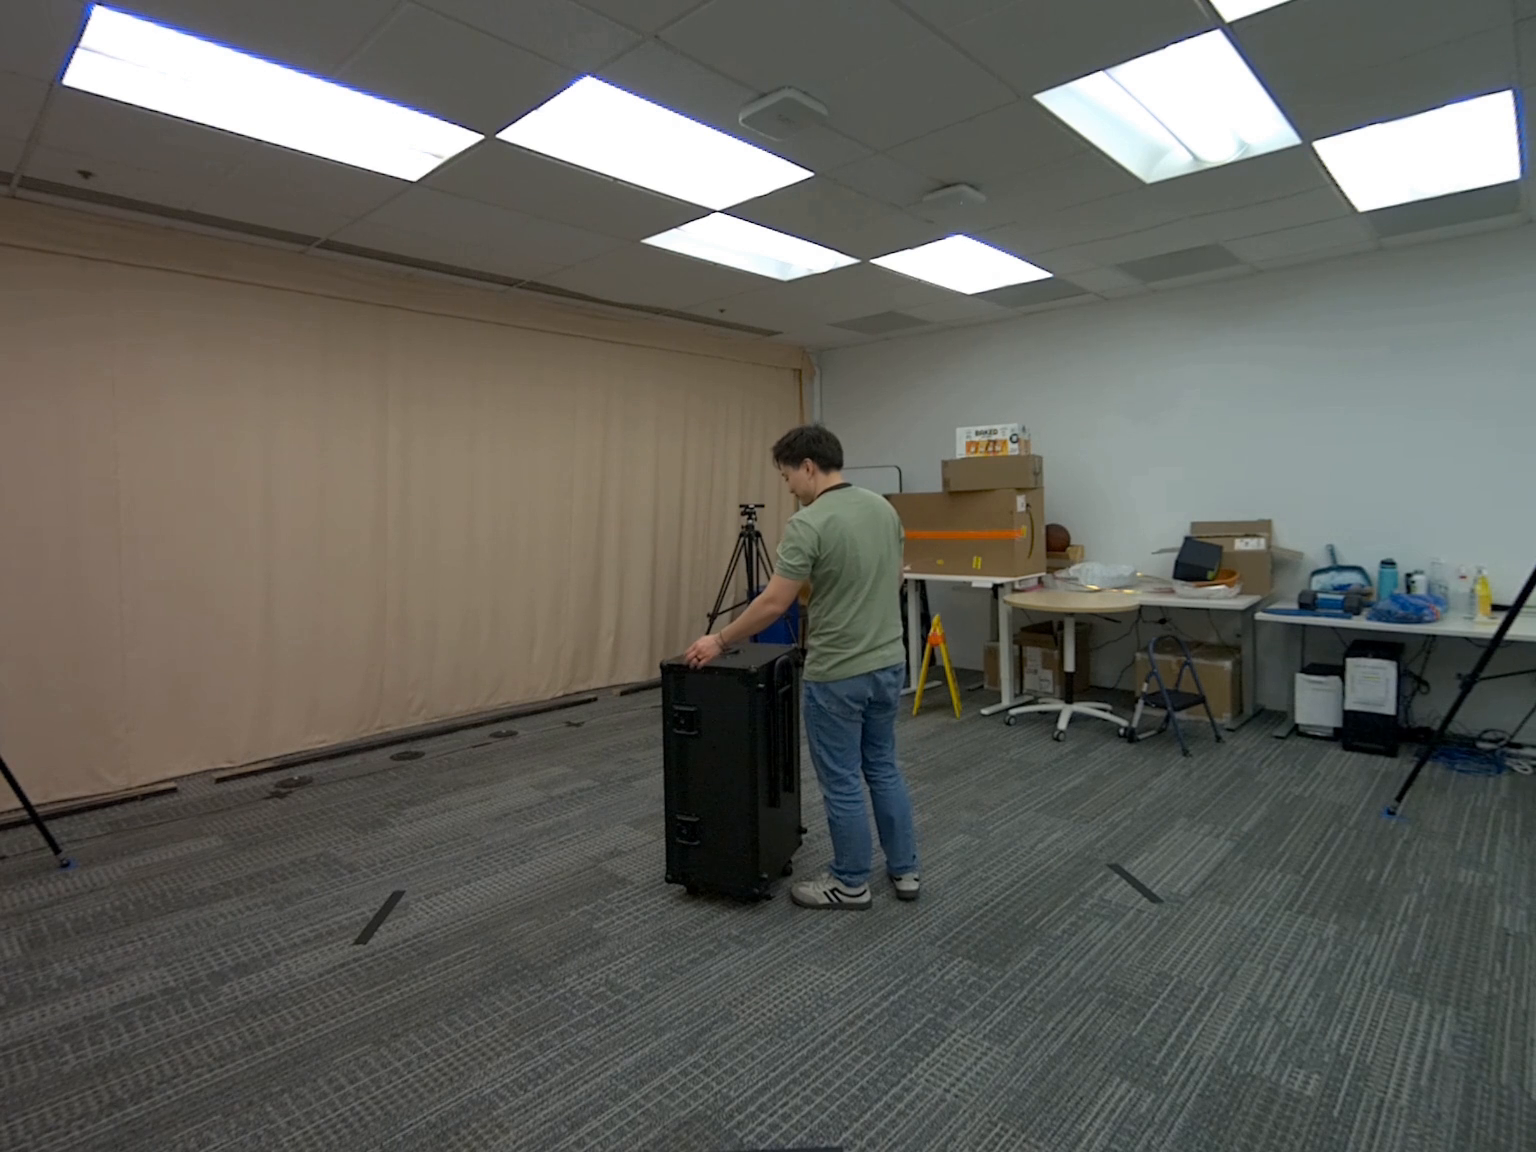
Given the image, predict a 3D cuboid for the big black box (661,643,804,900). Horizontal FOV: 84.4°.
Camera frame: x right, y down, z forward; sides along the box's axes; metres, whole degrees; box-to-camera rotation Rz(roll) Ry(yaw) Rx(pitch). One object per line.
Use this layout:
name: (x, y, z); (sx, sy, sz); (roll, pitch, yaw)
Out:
big black box: (-0.107, 0.703, 3.097); (0.405, 0.859, 0.510); (1, 4, 21)
